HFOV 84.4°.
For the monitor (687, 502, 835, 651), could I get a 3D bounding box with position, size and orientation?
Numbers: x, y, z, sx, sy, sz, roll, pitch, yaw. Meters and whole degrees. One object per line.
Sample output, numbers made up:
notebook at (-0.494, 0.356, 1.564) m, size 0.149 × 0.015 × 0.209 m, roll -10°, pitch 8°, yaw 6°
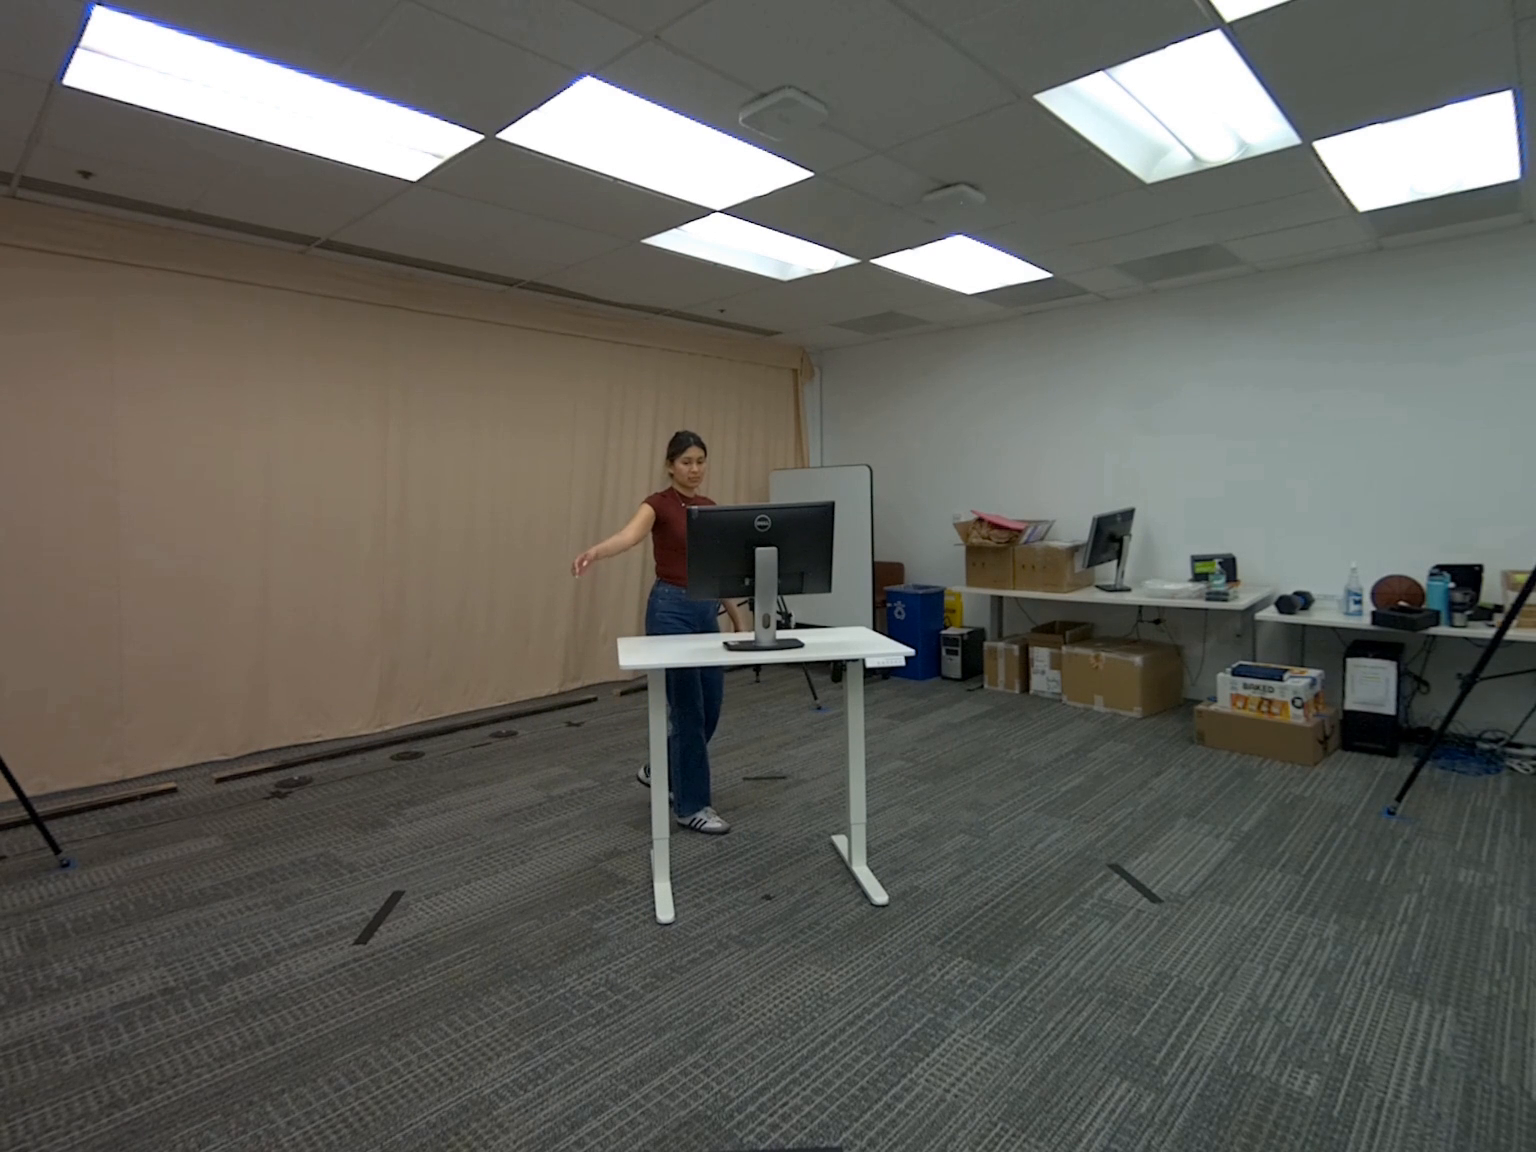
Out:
monitor at (-0.010, 0.003, 3.000) m, size 0.535 × 0.521 × 0.189 m, roll -2°, pitch 5°, yaw -8°
